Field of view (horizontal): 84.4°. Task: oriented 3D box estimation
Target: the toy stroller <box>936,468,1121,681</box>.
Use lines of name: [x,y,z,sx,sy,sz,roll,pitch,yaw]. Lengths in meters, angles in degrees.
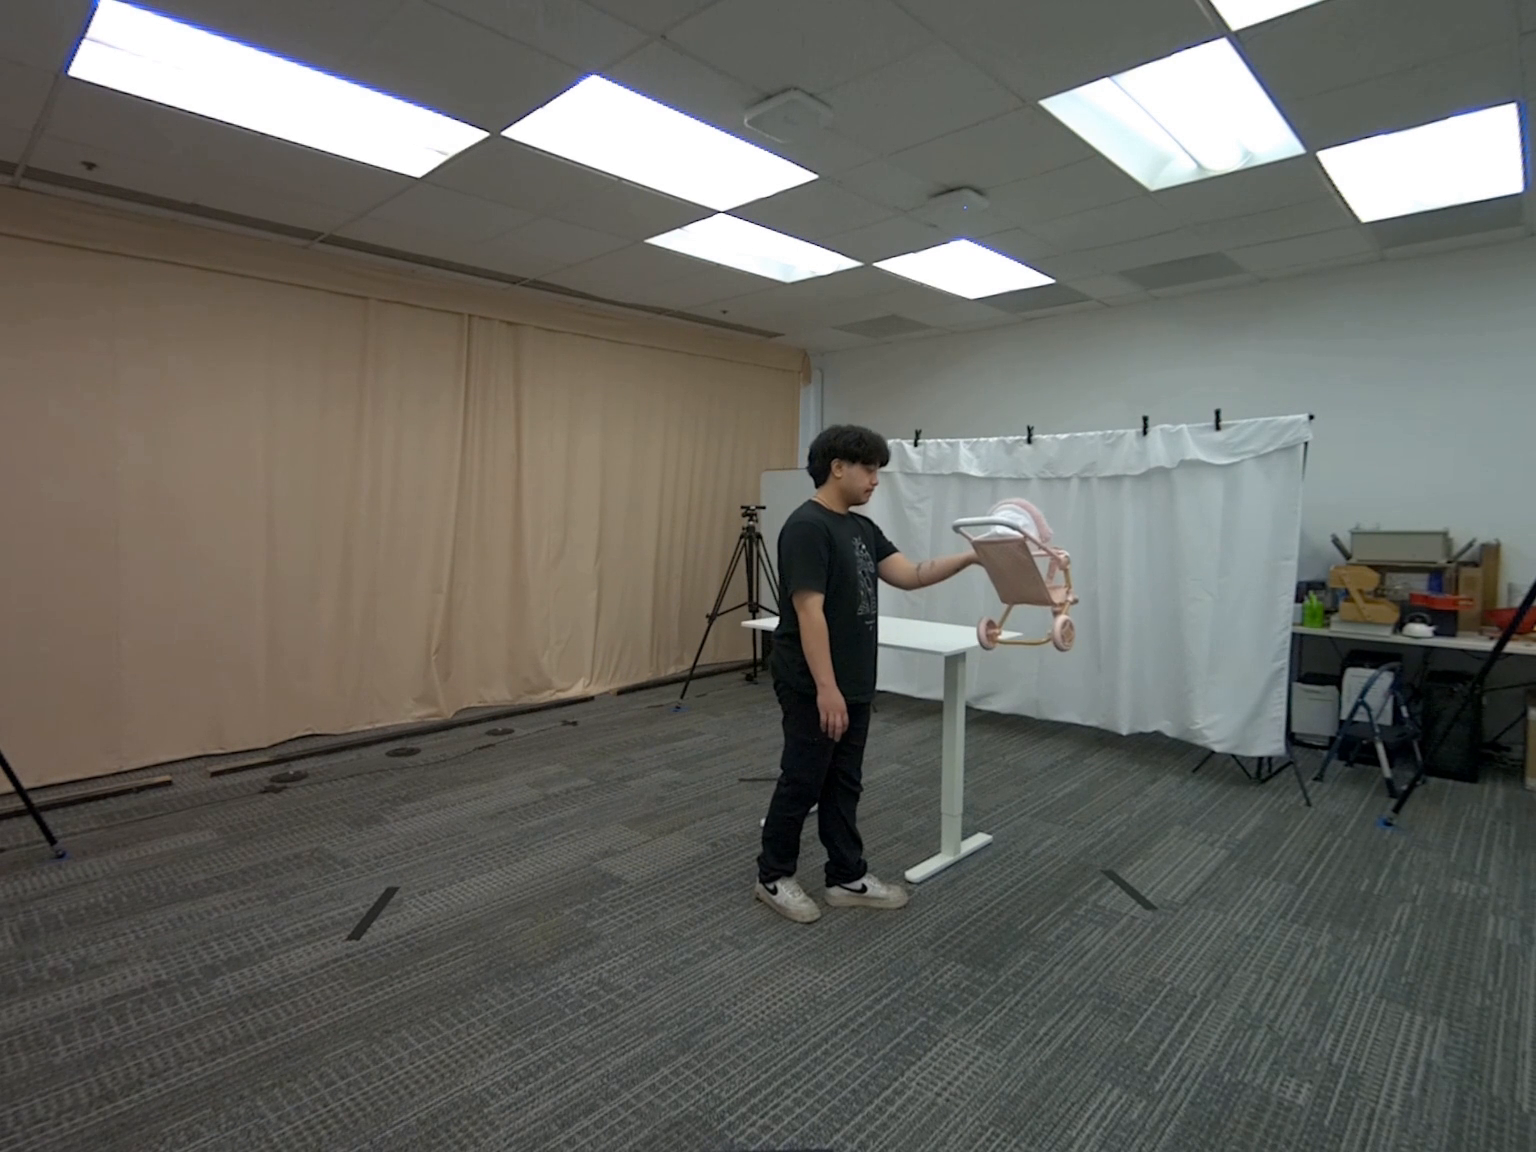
toy stroller: [0.812,-0.007,2.628,0.336,0.527,0.290,-33,19,-36]
